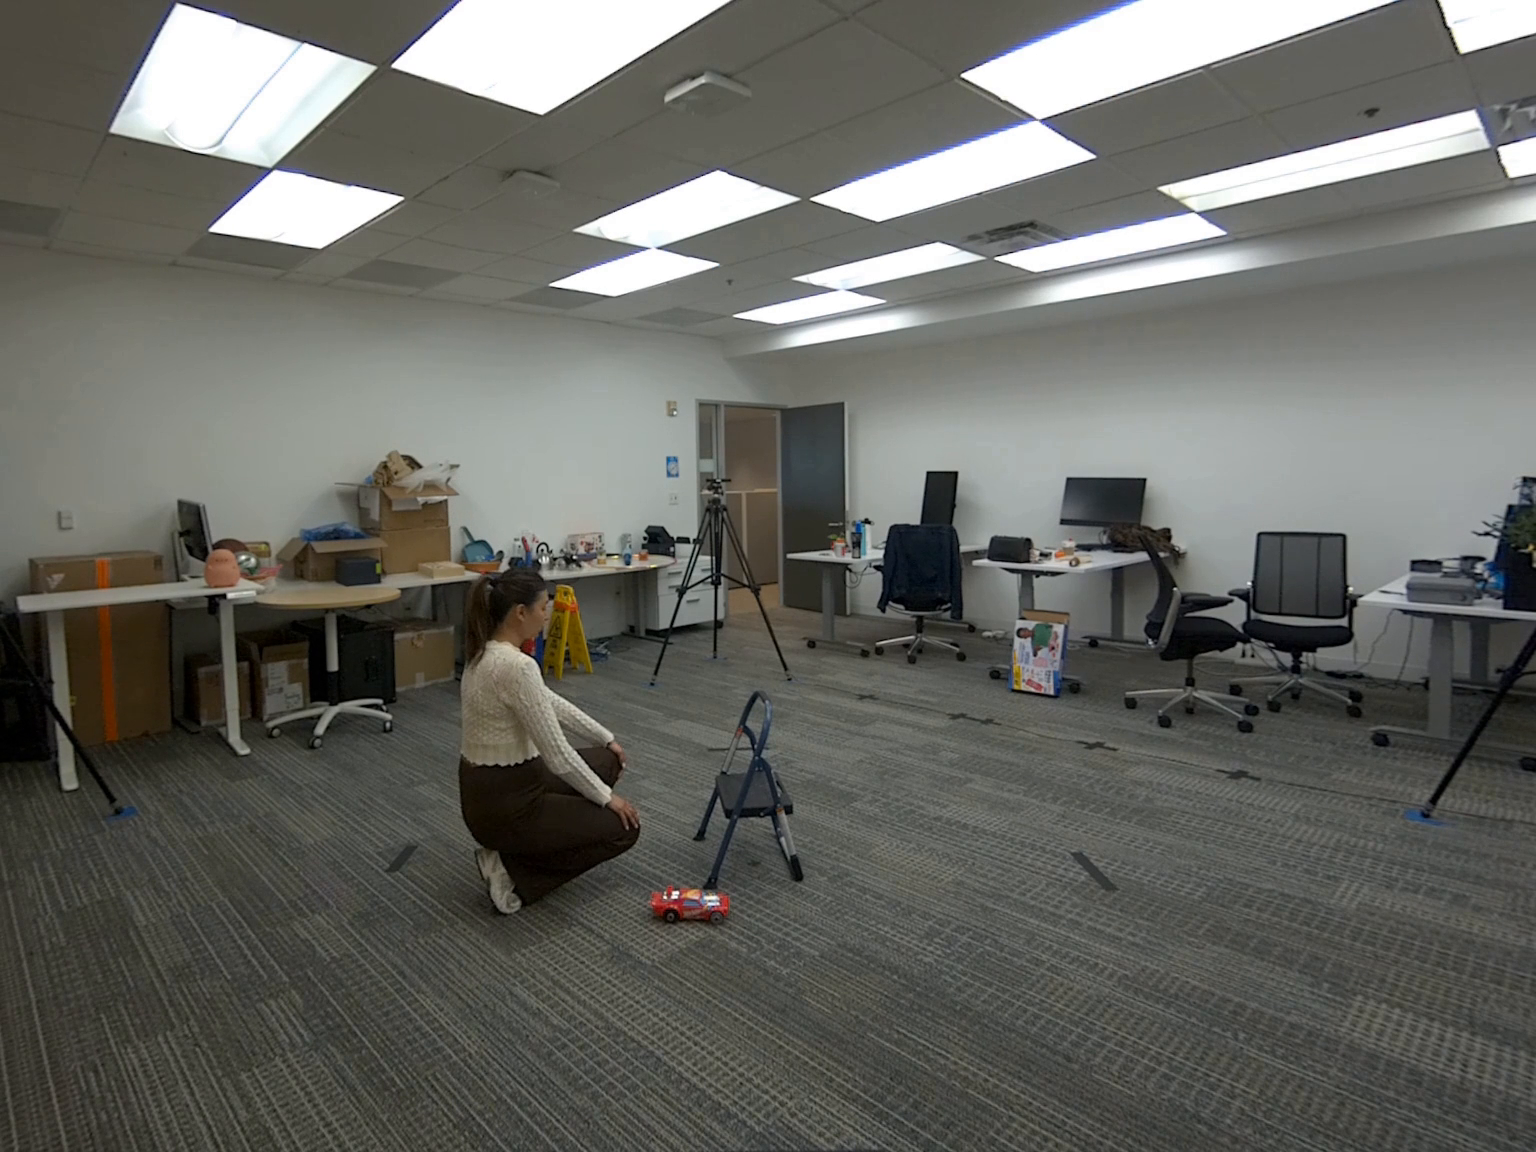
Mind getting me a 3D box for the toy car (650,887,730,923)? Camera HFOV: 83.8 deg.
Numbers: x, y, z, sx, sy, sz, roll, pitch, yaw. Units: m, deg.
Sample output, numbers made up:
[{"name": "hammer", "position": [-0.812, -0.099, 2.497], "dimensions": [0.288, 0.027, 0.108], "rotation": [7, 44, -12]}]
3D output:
[{"name": "toy car", "position": [-0.255, 1.058, 2.734], "dimensions": [0.255, 0.083, 0.130], "rotation": [10, 5, 1]}]
